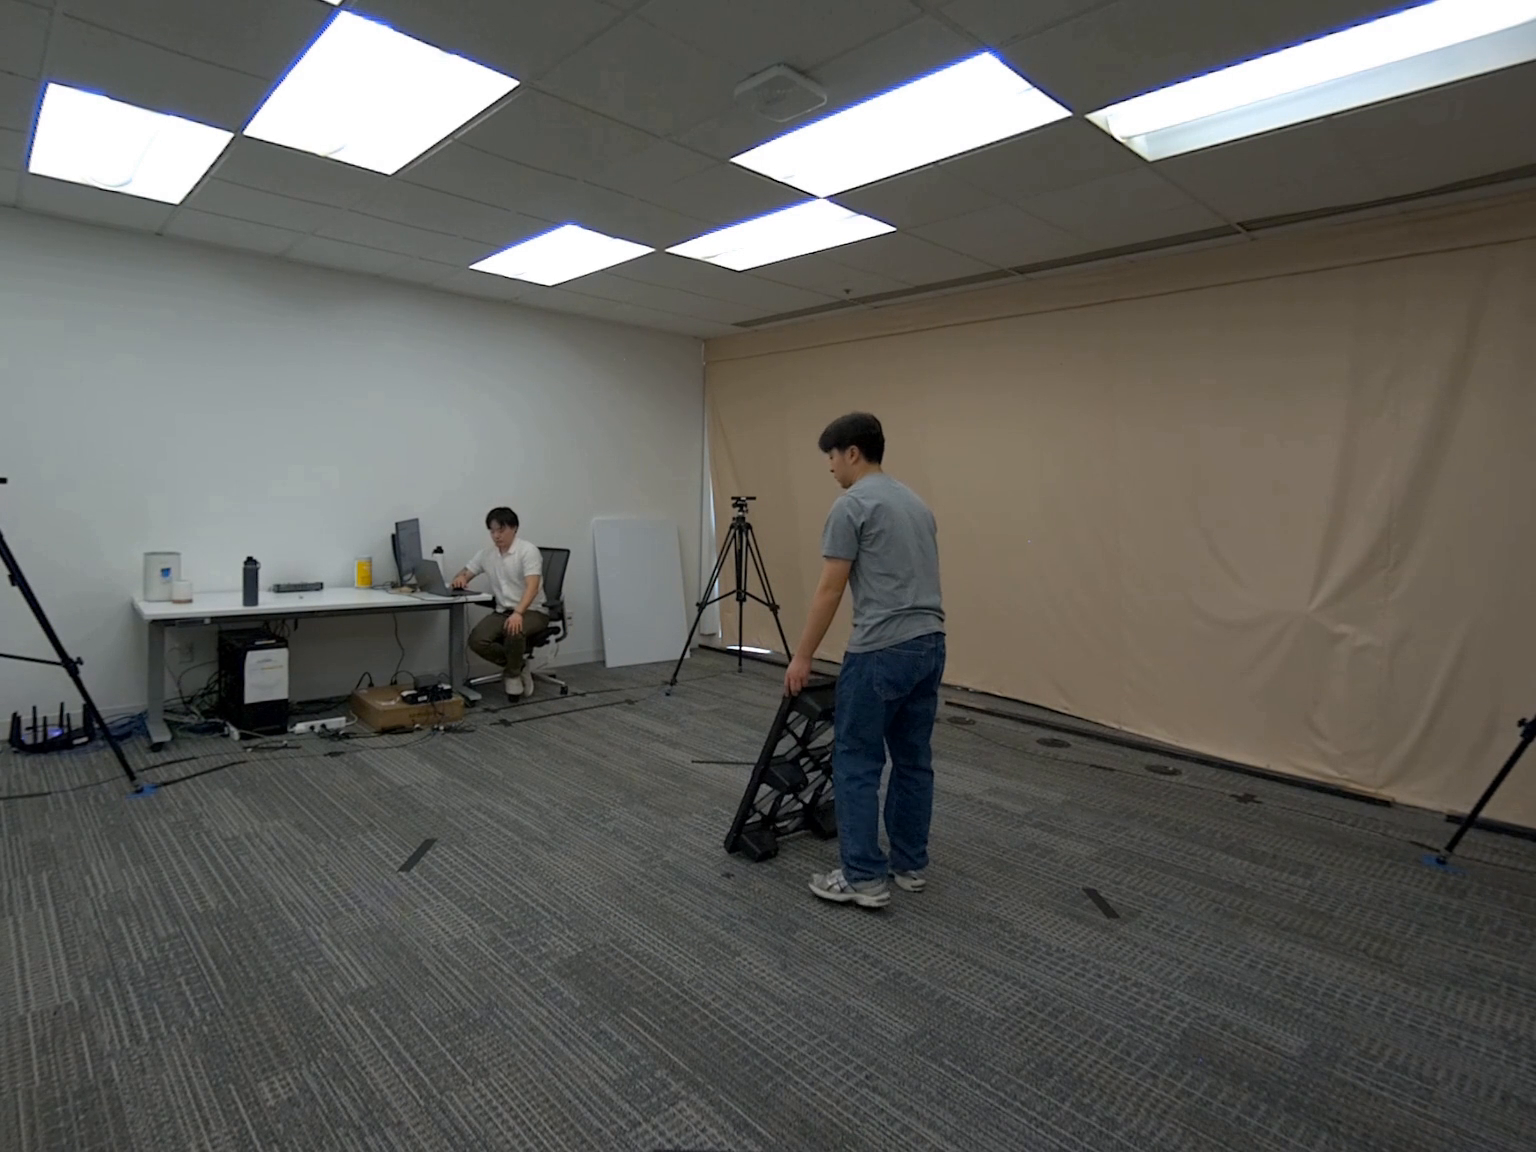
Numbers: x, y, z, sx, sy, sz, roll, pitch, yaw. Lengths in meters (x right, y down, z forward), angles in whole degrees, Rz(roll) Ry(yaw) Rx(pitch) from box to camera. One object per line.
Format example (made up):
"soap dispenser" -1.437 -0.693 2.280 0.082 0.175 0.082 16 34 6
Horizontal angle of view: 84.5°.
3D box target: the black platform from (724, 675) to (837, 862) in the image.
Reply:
"black platform" 0.191 0.743 3.267 0.591 0.798 0.148 -1 31 -40
